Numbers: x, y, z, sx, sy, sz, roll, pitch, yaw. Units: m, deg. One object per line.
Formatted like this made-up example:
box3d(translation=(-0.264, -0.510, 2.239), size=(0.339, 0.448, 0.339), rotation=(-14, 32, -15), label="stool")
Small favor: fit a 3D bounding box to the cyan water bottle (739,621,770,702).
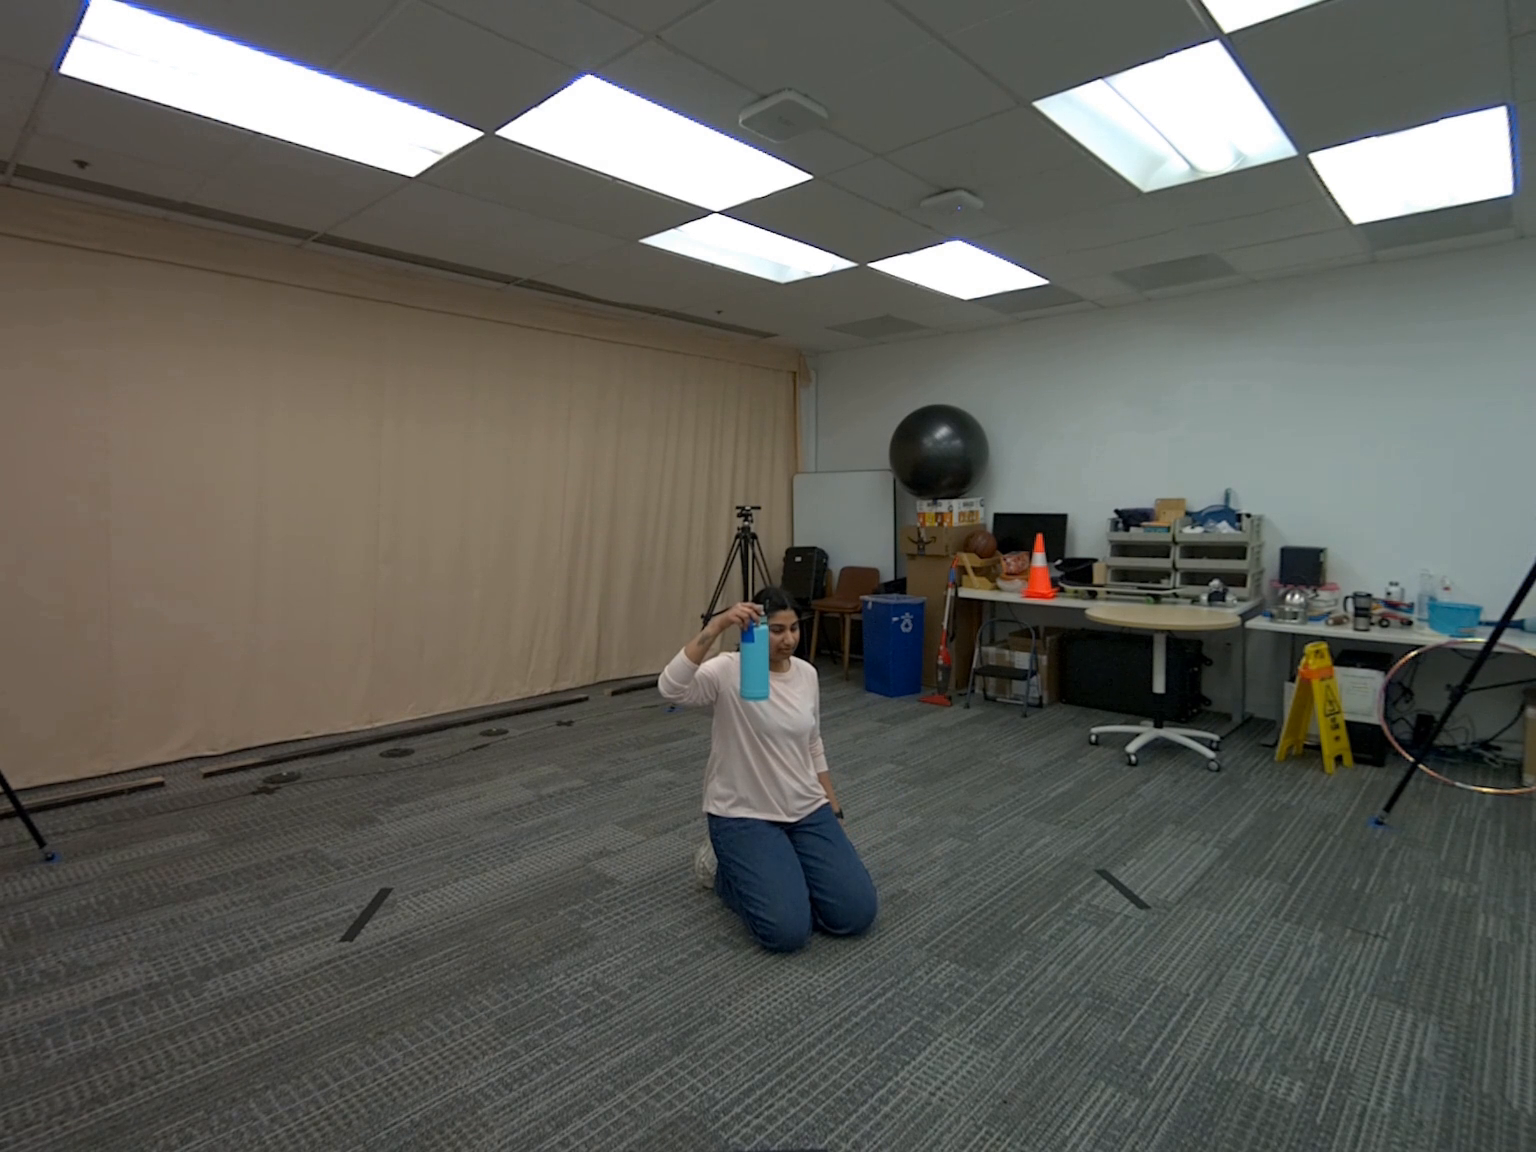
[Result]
box3d(translation=(-0.047, 0.234, 2.560), size=(0.092, 0.283, 0.092), rotation=(-1, 2, -2), label="cyan water bottle")
